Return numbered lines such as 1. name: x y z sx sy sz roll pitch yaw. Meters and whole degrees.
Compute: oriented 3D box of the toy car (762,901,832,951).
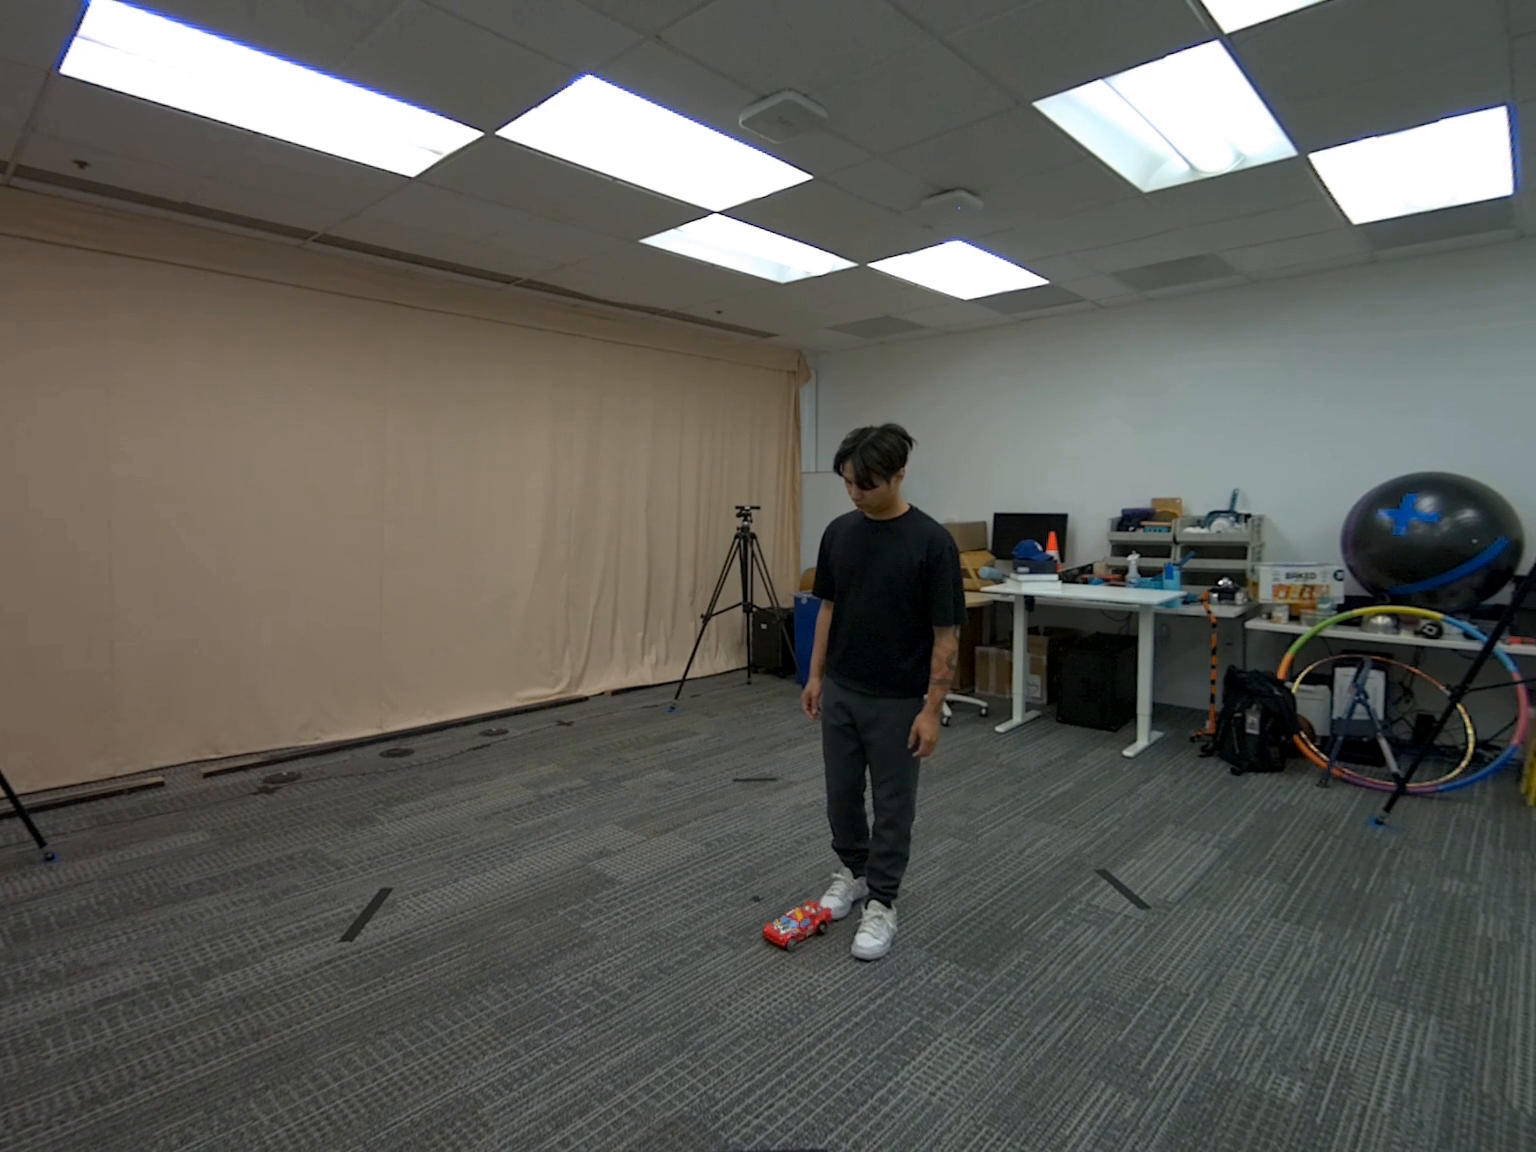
1. toy car: 0.106 1.133 2.734 0.248 0.082 0.134 -19 15 -40
